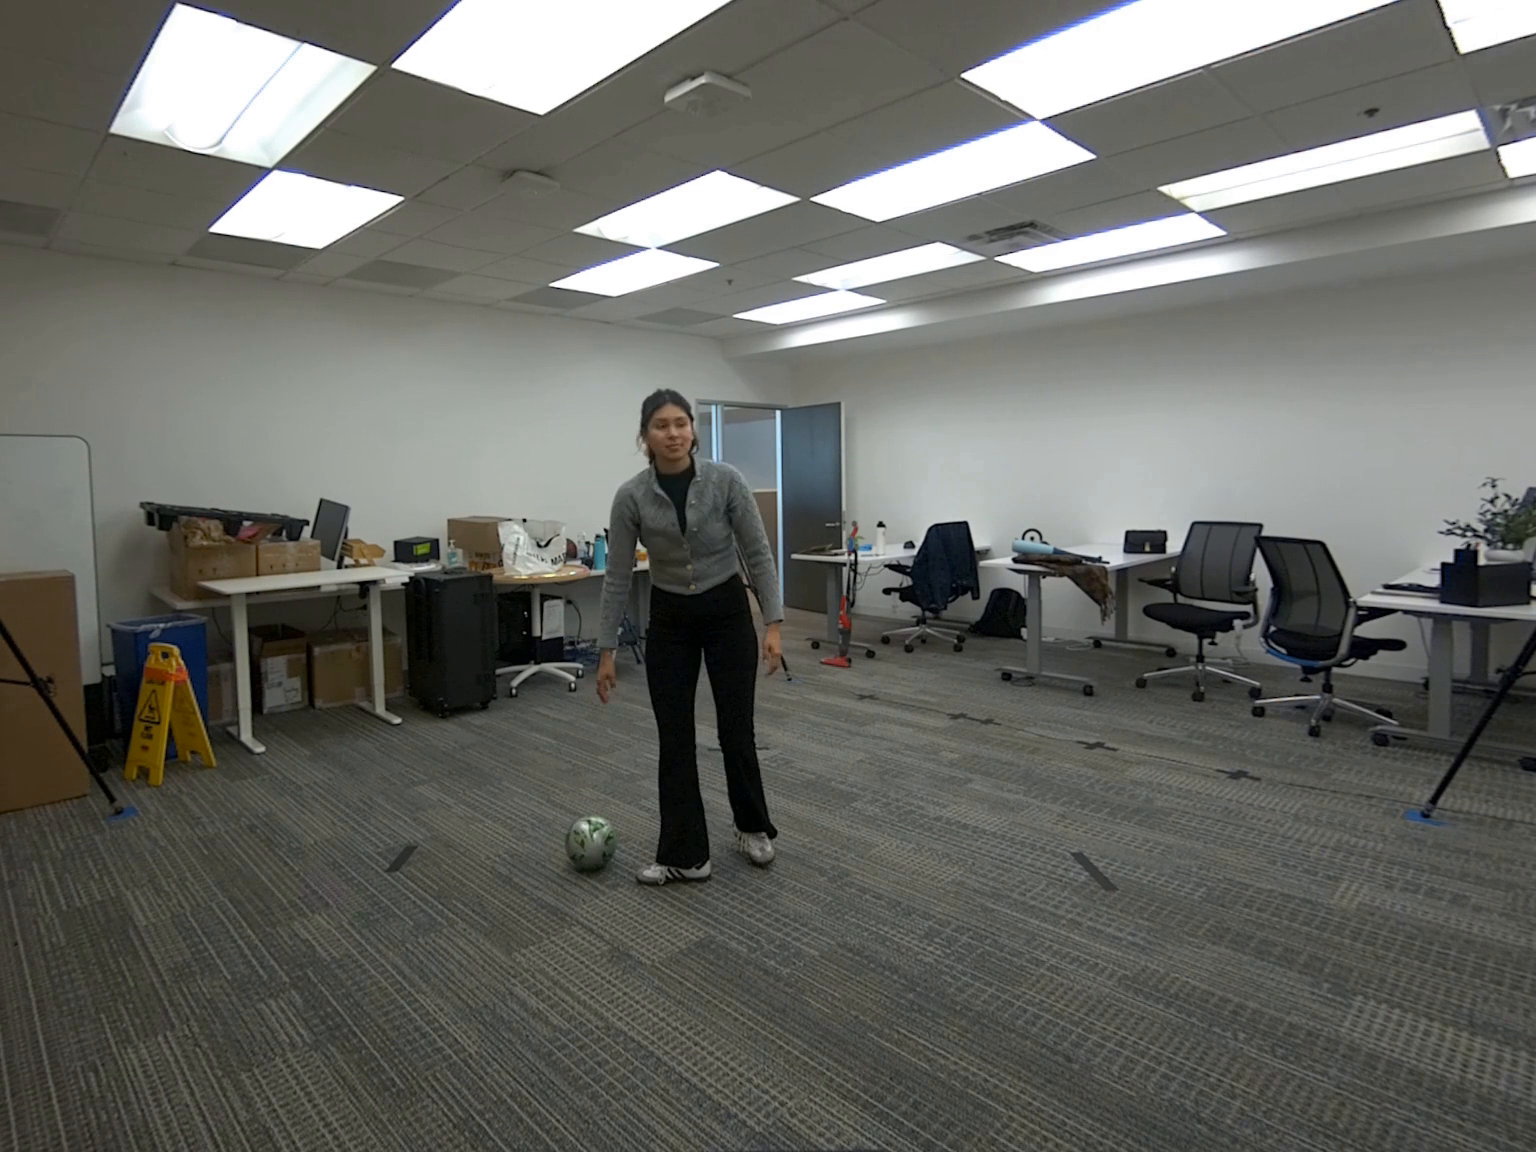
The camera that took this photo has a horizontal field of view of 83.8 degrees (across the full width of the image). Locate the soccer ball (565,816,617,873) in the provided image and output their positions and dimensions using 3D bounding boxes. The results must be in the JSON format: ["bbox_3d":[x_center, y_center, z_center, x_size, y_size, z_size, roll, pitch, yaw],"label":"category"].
[{"bbox_3d":[-0.637,0.964,3.091,0.187,0.187,0.188,-1,5,-2],"label":"soccer ball"}]
